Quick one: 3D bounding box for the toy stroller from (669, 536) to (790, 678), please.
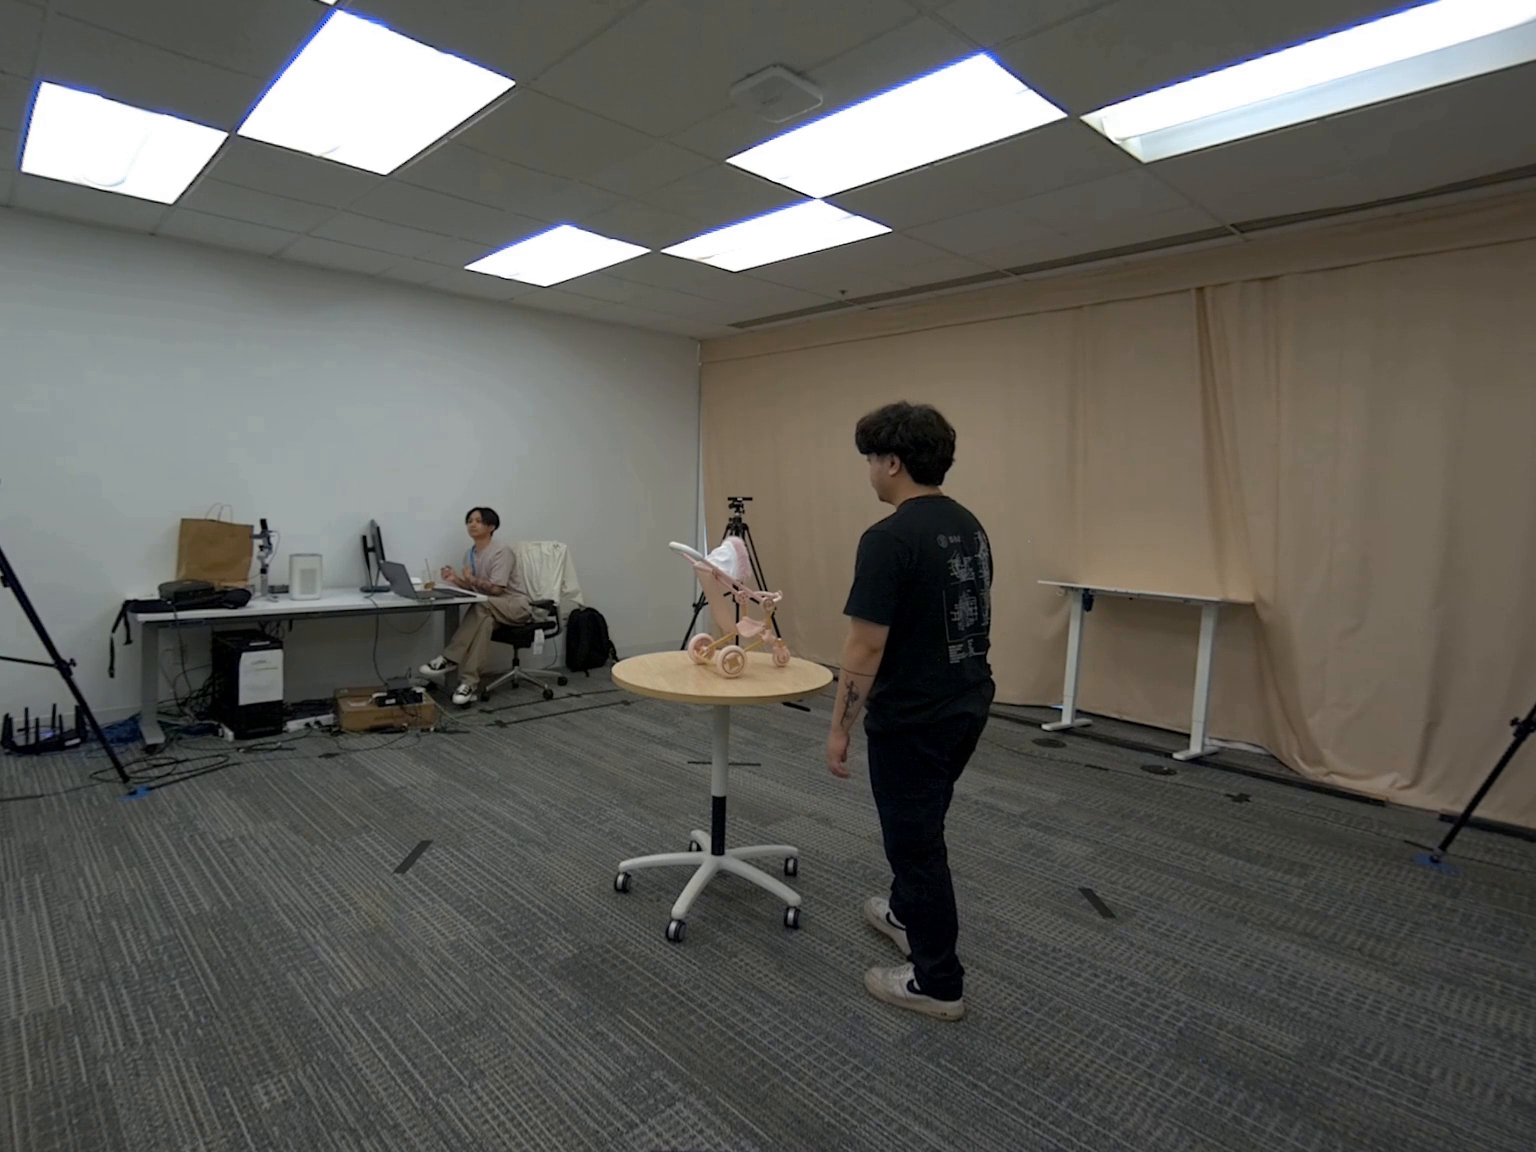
[{"bbox_3d":[-0.118,0.104,2.933,0.337,0.531,0.287,-14,10,-20],"label":"toy stroller"}]
